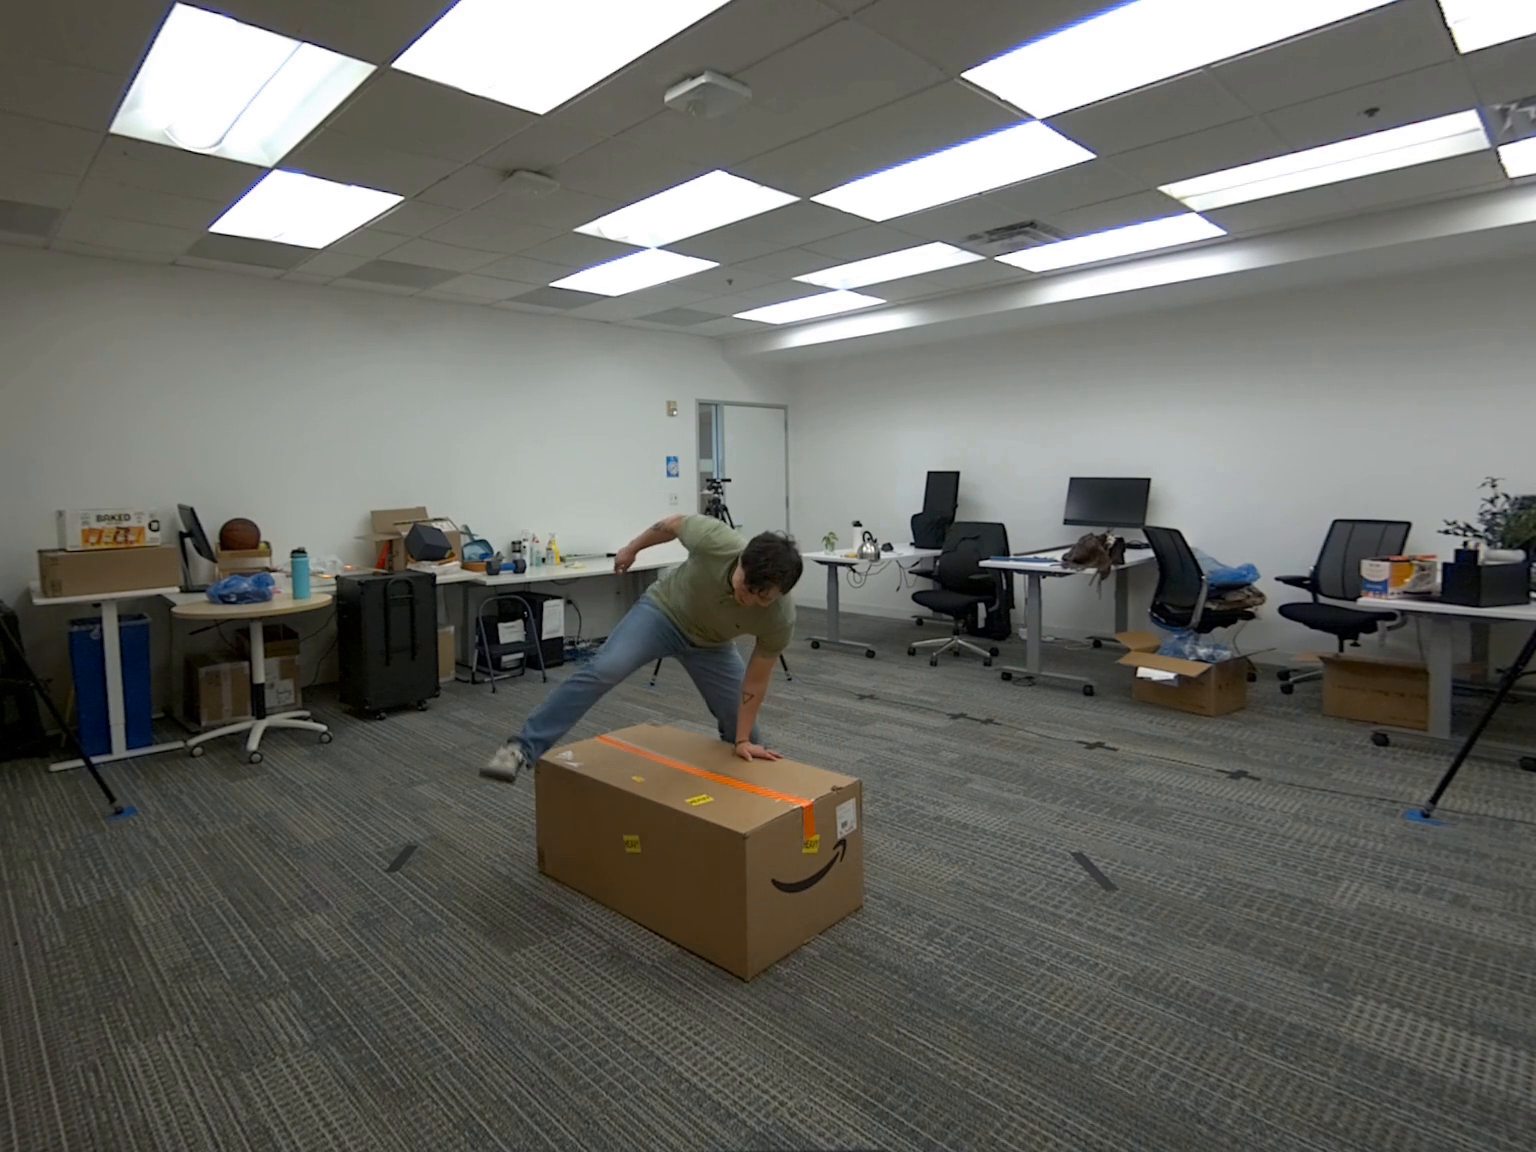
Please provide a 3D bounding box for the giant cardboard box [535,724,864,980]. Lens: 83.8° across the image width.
[{"bbox_3d":[-0.261,0.858,2.917,1.058,0.424,0.562,5,8,42],"label":"giant cardboard box"}]
